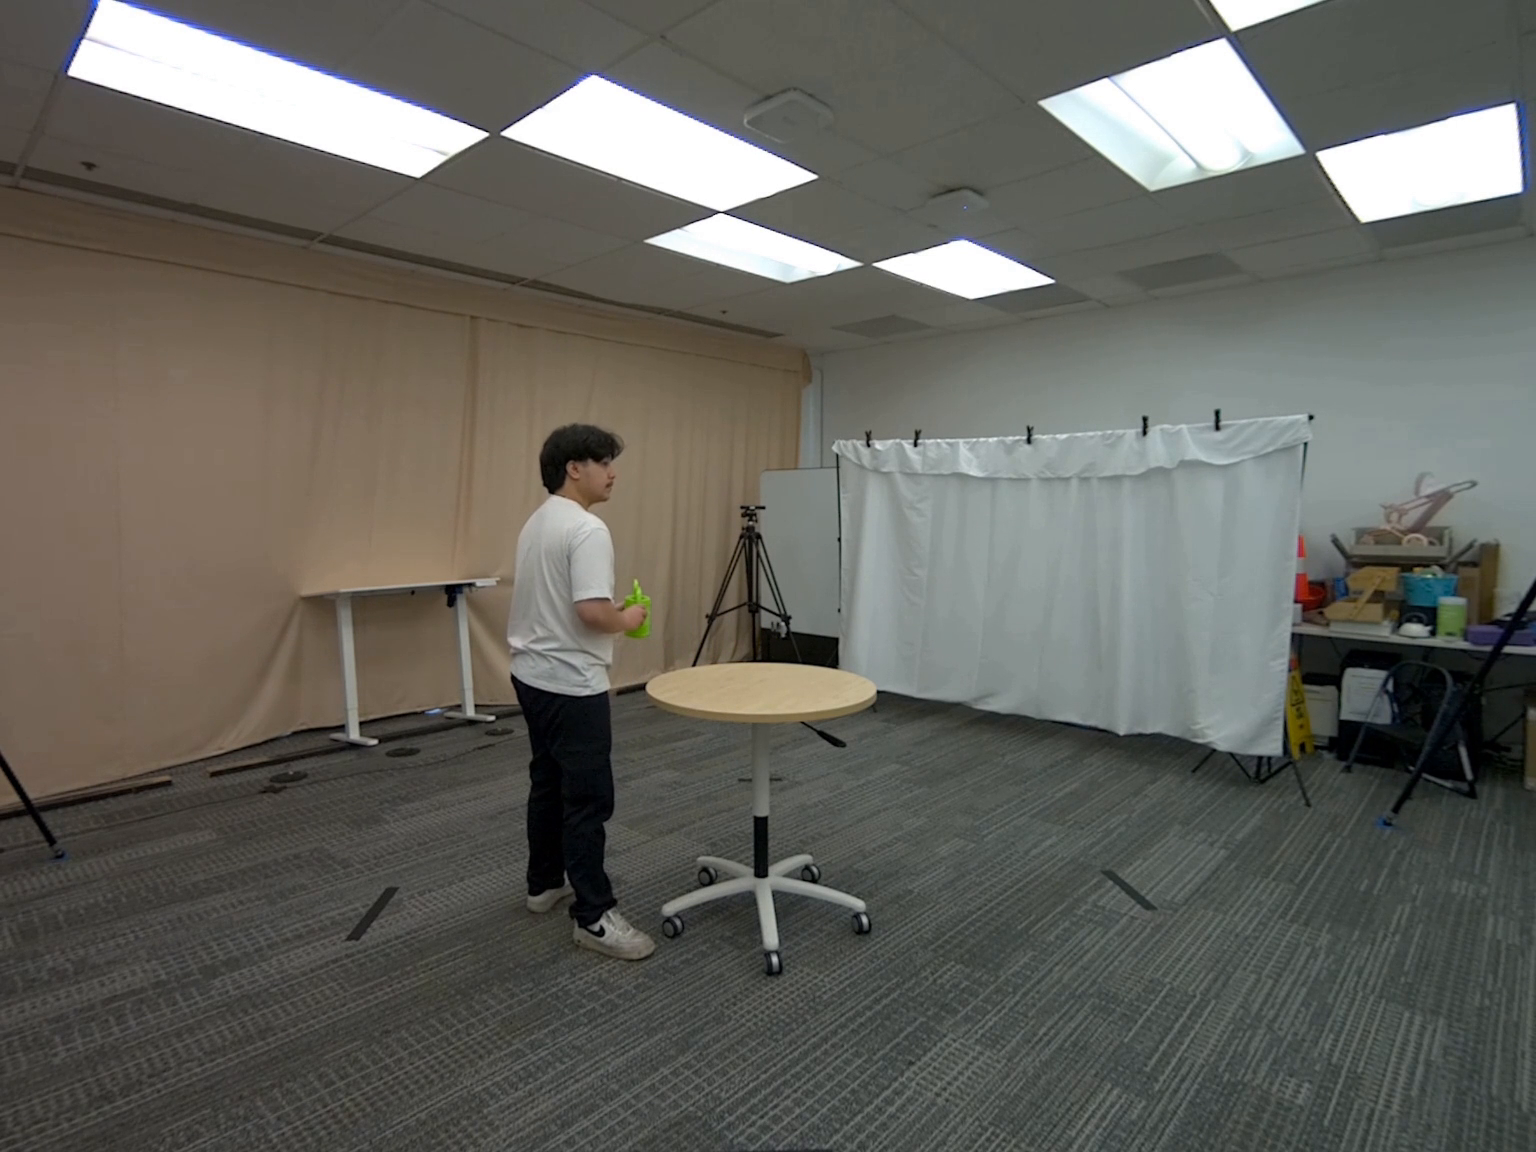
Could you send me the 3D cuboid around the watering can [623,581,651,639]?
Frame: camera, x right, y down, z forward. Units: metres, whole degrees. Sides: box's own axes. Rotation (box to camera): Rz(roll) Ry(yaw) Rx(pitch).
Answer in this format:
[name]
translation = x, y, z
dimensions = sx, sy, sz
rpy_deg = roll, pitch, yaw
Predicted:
[watering can]
translation = -0.476, 0.124, 3.042
dimensions = 0.098, 0.176, 0.278
rpy_deg = 3, 6, 1
